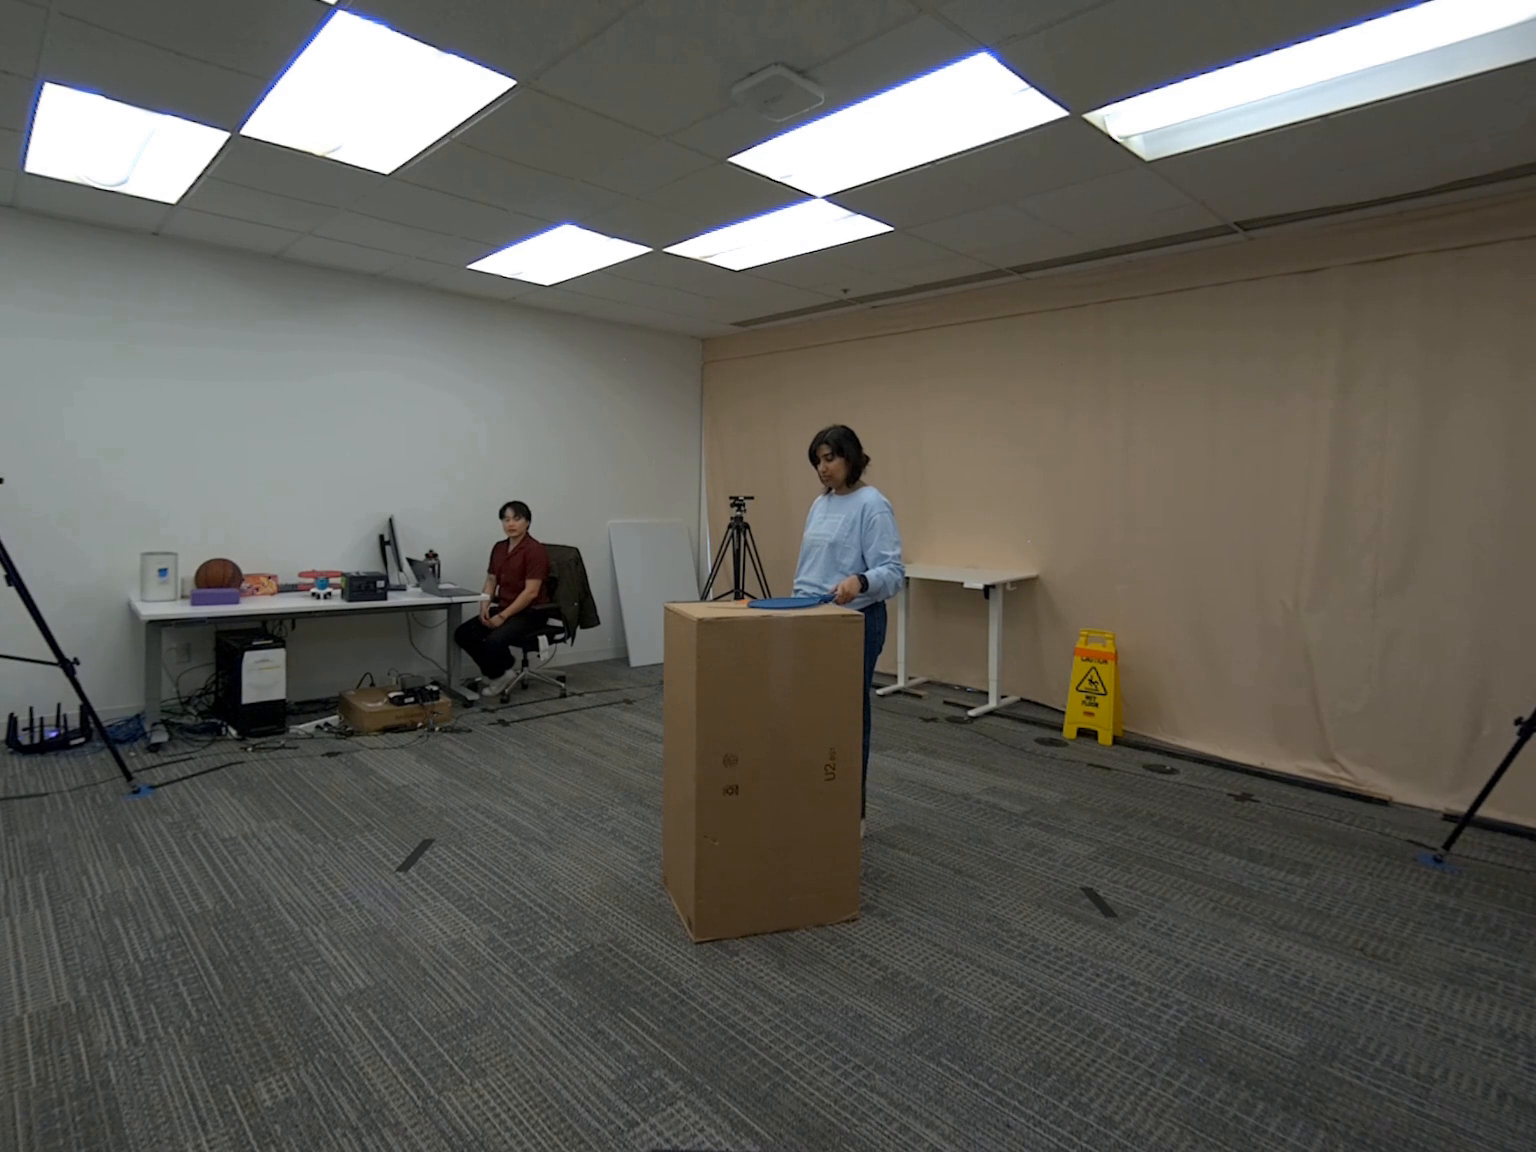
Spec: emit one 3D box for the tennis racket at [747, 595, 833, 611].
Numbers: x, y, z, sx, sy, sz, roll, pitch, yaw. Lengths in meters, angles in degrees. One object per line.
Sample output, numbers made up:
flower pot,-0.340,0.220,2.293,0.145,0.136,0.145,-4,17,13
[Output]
tennis racket,0.111,0.089,2.956,0.424,0.031,0.219,-5,7,-35
